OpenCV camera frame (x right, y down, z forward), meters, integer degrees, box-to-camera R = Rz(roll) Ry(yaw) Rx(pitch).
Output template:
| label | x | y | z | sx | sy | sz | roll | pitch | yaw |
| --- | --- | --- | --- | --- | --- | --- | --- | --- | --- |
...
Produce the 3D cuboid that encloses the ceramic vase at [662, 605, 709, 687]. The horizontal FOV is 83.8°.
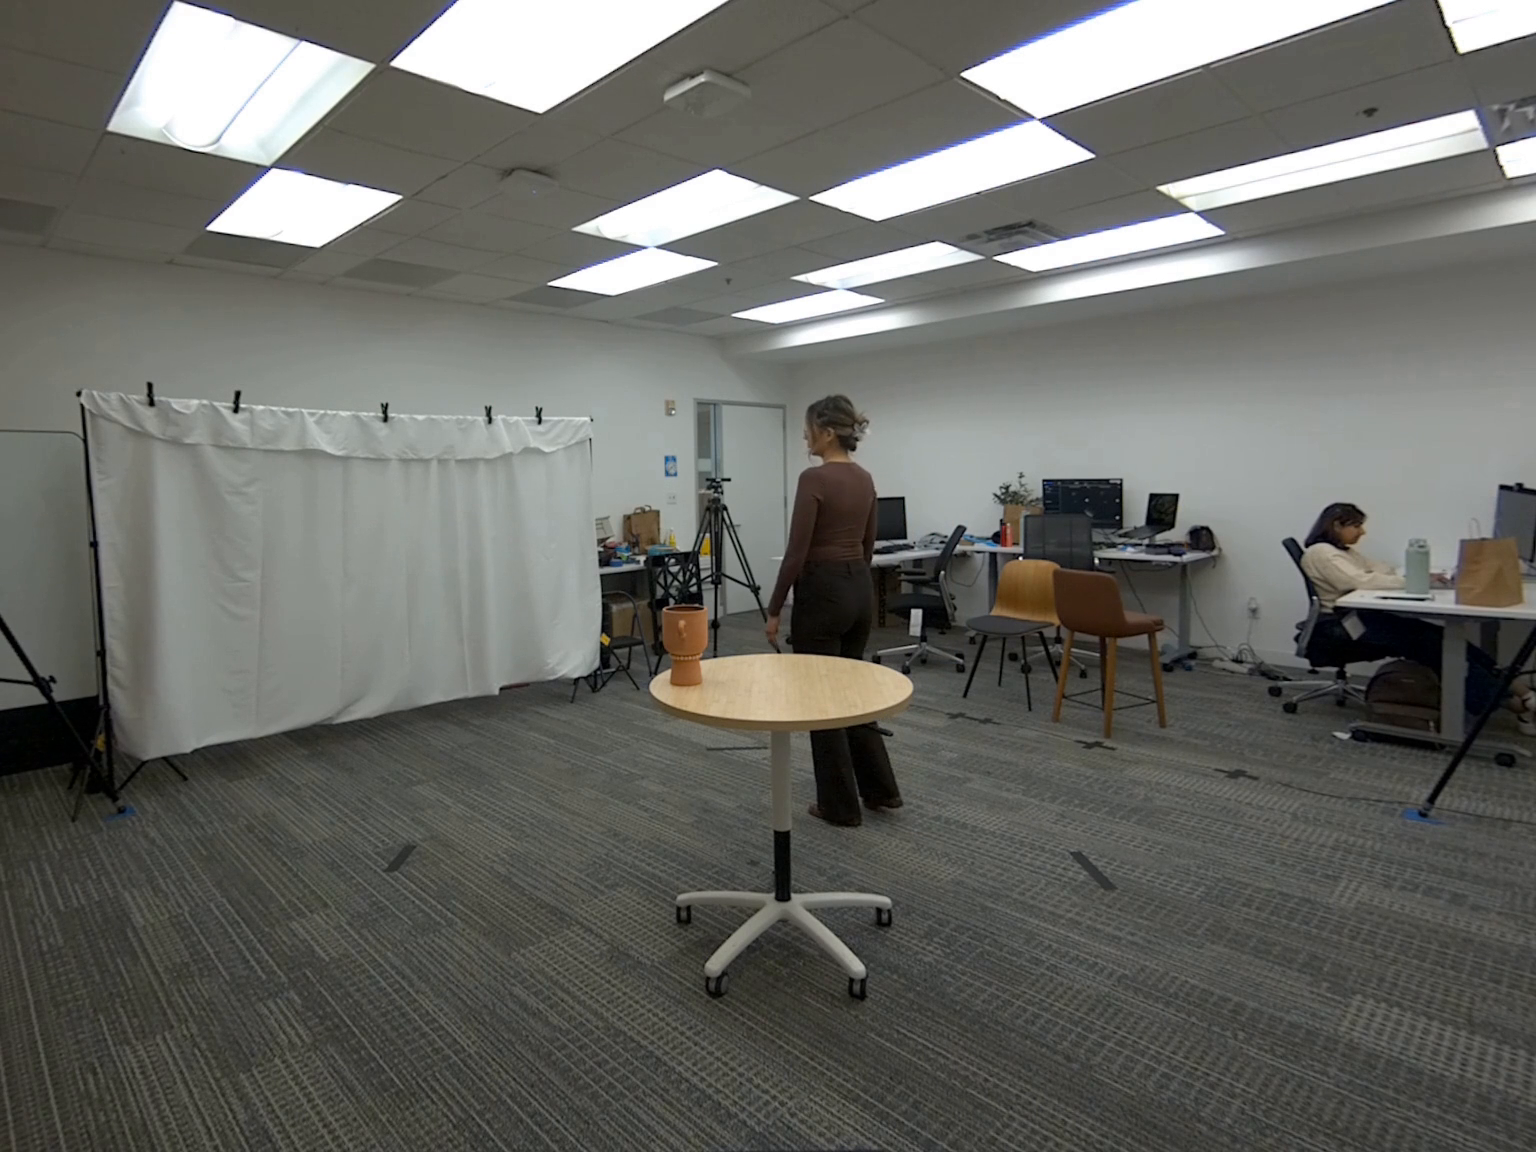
| label | x | y | z | sx | sy | sz | roll | pitch | yaw |
| --- | --- | --- | --- | --- | --- | --- | --- | --- | --- |
| ceramic vase | -0.237 | 0.204 | 2.522 | 0.139 | 0.219 | 0.155 | 4 | 7 | 41 |
